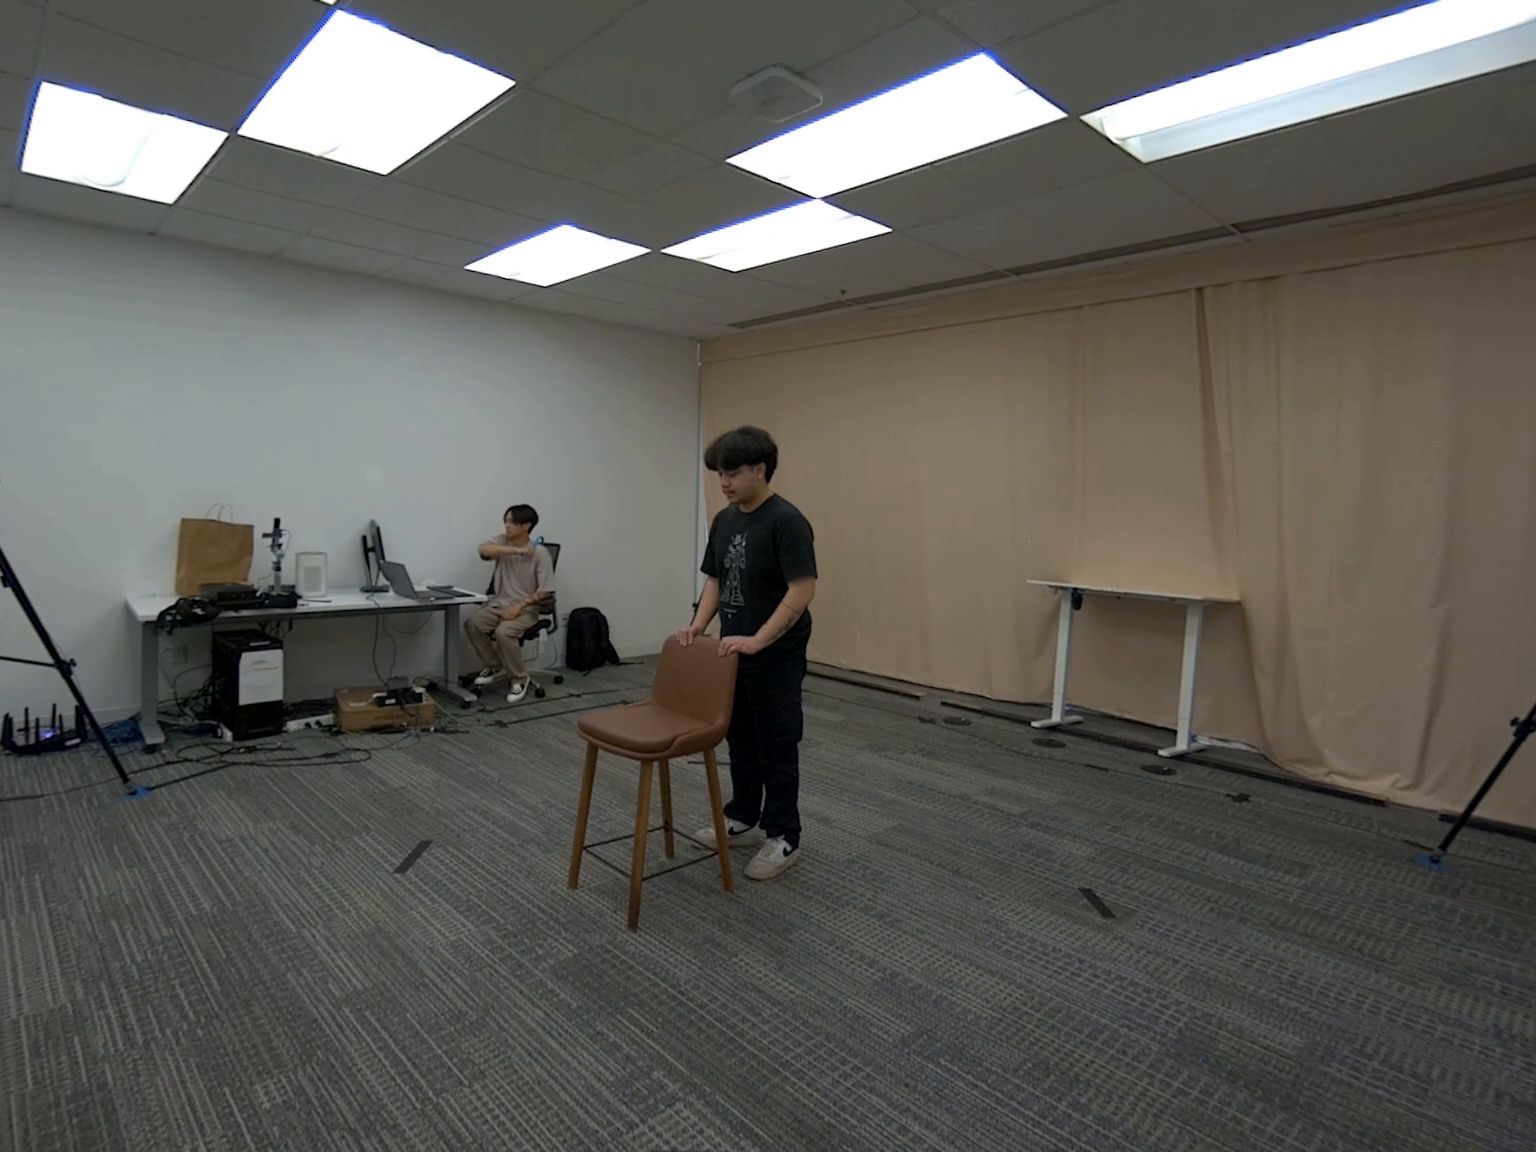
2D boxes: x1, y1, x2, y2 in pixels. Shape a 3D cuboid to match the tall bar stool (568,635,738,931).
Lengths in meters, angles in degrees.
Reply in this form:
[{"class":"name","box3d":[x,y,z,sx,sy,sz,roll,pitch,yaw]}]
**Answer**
[{"class":"tall bar stool","box3d":[-0.399,0.676,2.967,0.456,0.889,0.468,1,2,-43]}]
